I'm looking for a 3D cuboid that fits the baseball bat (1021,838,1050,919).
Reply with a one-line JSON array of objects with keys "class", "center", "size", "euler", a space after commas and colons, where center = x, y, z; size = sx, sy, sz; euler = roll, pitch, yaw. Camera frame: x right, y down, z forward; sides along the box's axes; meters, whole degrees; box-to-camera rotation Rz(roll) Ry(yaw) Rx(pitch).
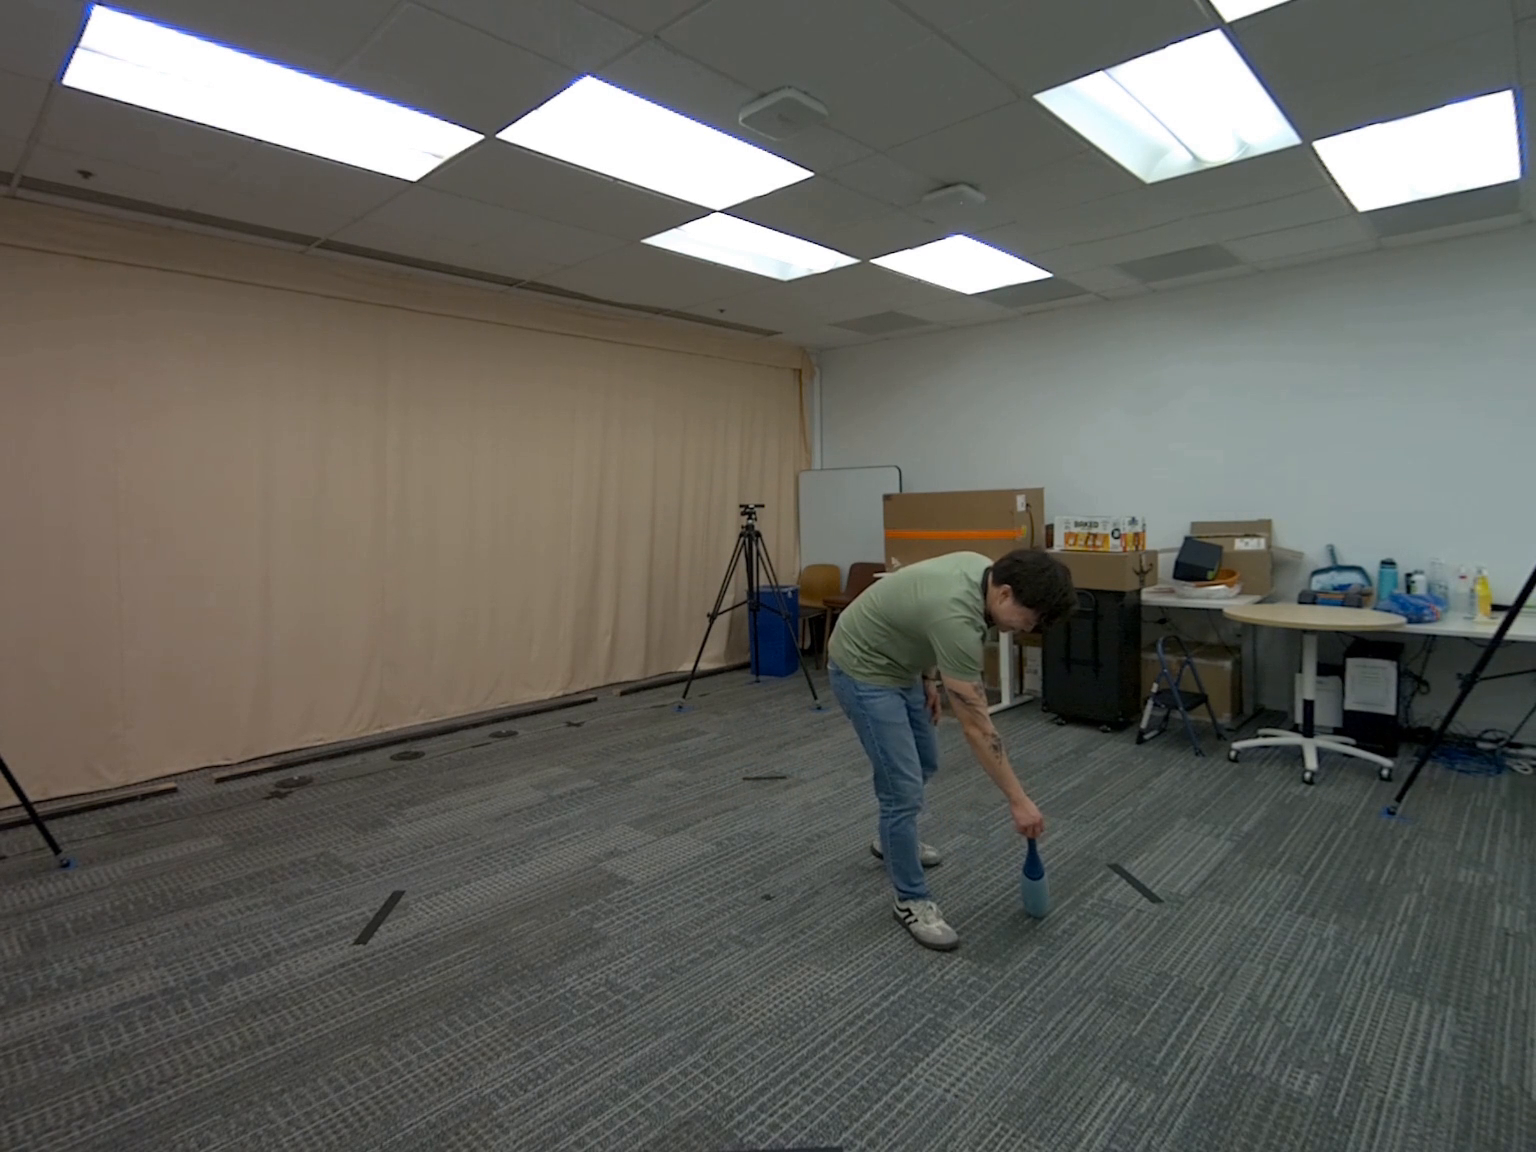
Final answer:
[{"class": "baseball bat", "center": [0.847, 0.927, 2.664], "size": [0.090, 0.528, 0.091], "euler": [-11, 41, 8]}]
